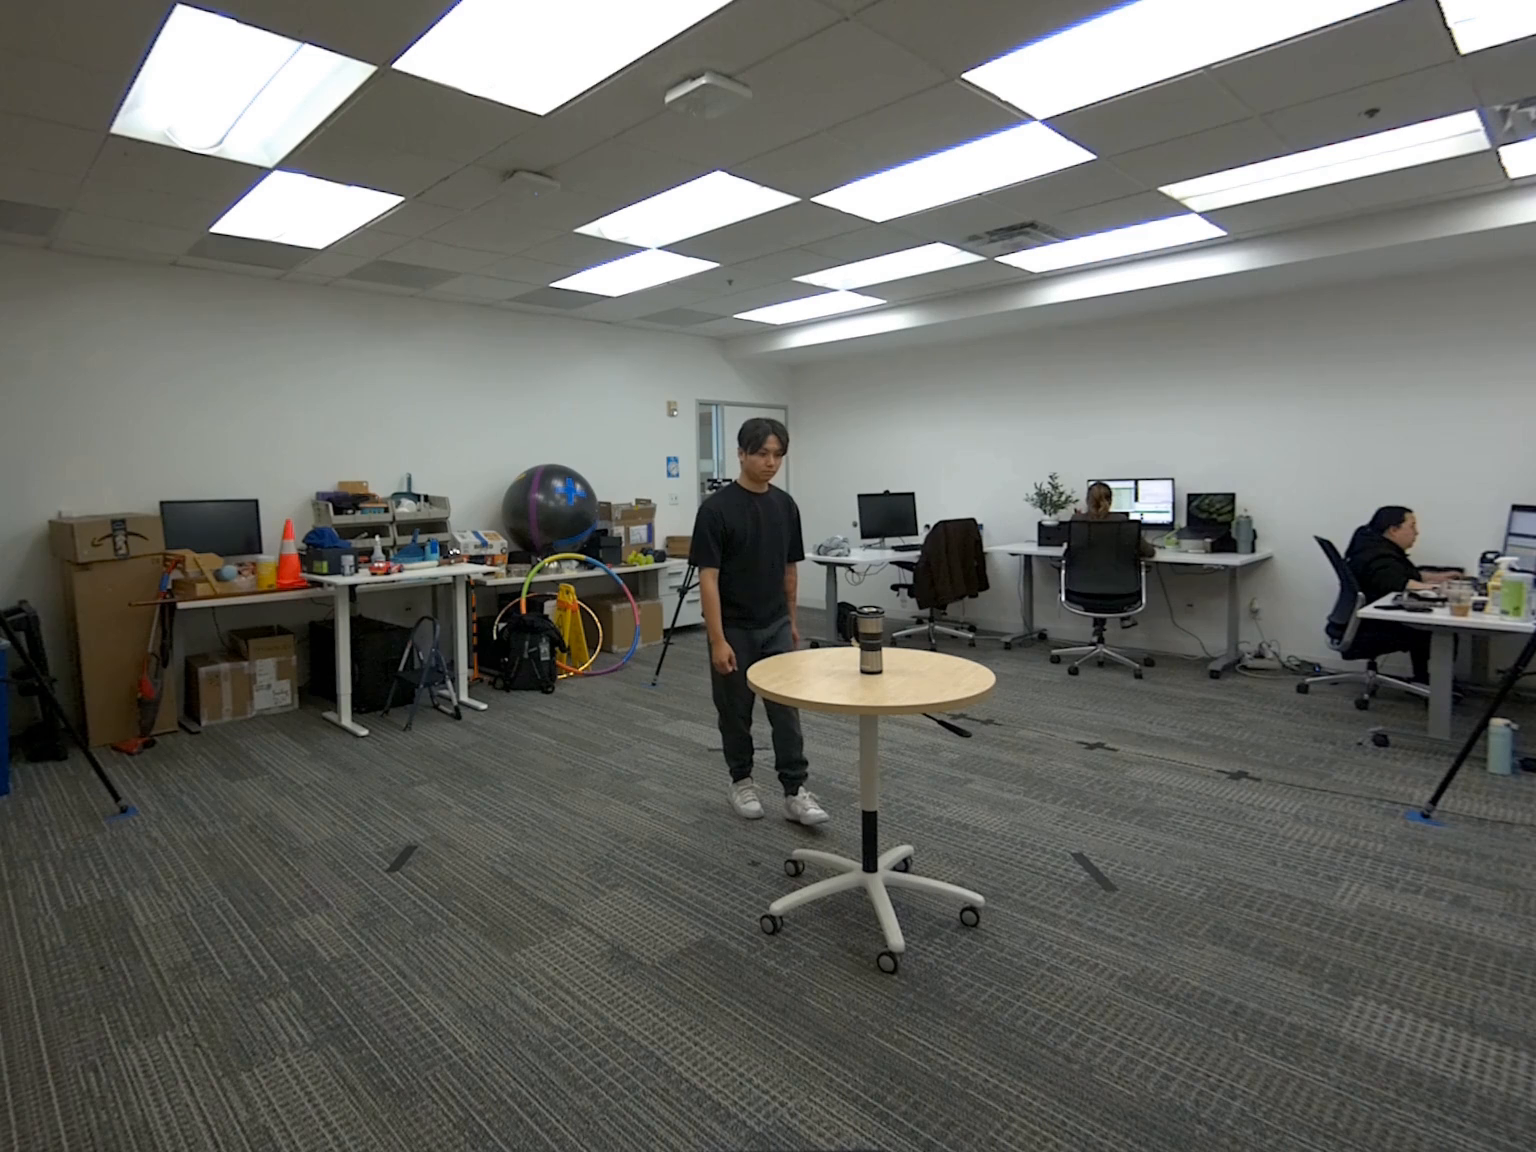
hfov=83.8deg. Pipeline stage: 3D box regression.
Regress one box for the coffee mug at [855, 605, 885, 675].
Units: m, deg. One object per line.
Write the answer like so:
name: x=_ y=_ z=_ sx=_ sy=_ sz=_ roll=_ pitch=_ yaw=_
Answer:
coffee mug: x=0.320 y=0.201 z=2.694 sx=0.086 sy=0.201 sz=0.125 roll=-9 pitch=11 yaw=-26
